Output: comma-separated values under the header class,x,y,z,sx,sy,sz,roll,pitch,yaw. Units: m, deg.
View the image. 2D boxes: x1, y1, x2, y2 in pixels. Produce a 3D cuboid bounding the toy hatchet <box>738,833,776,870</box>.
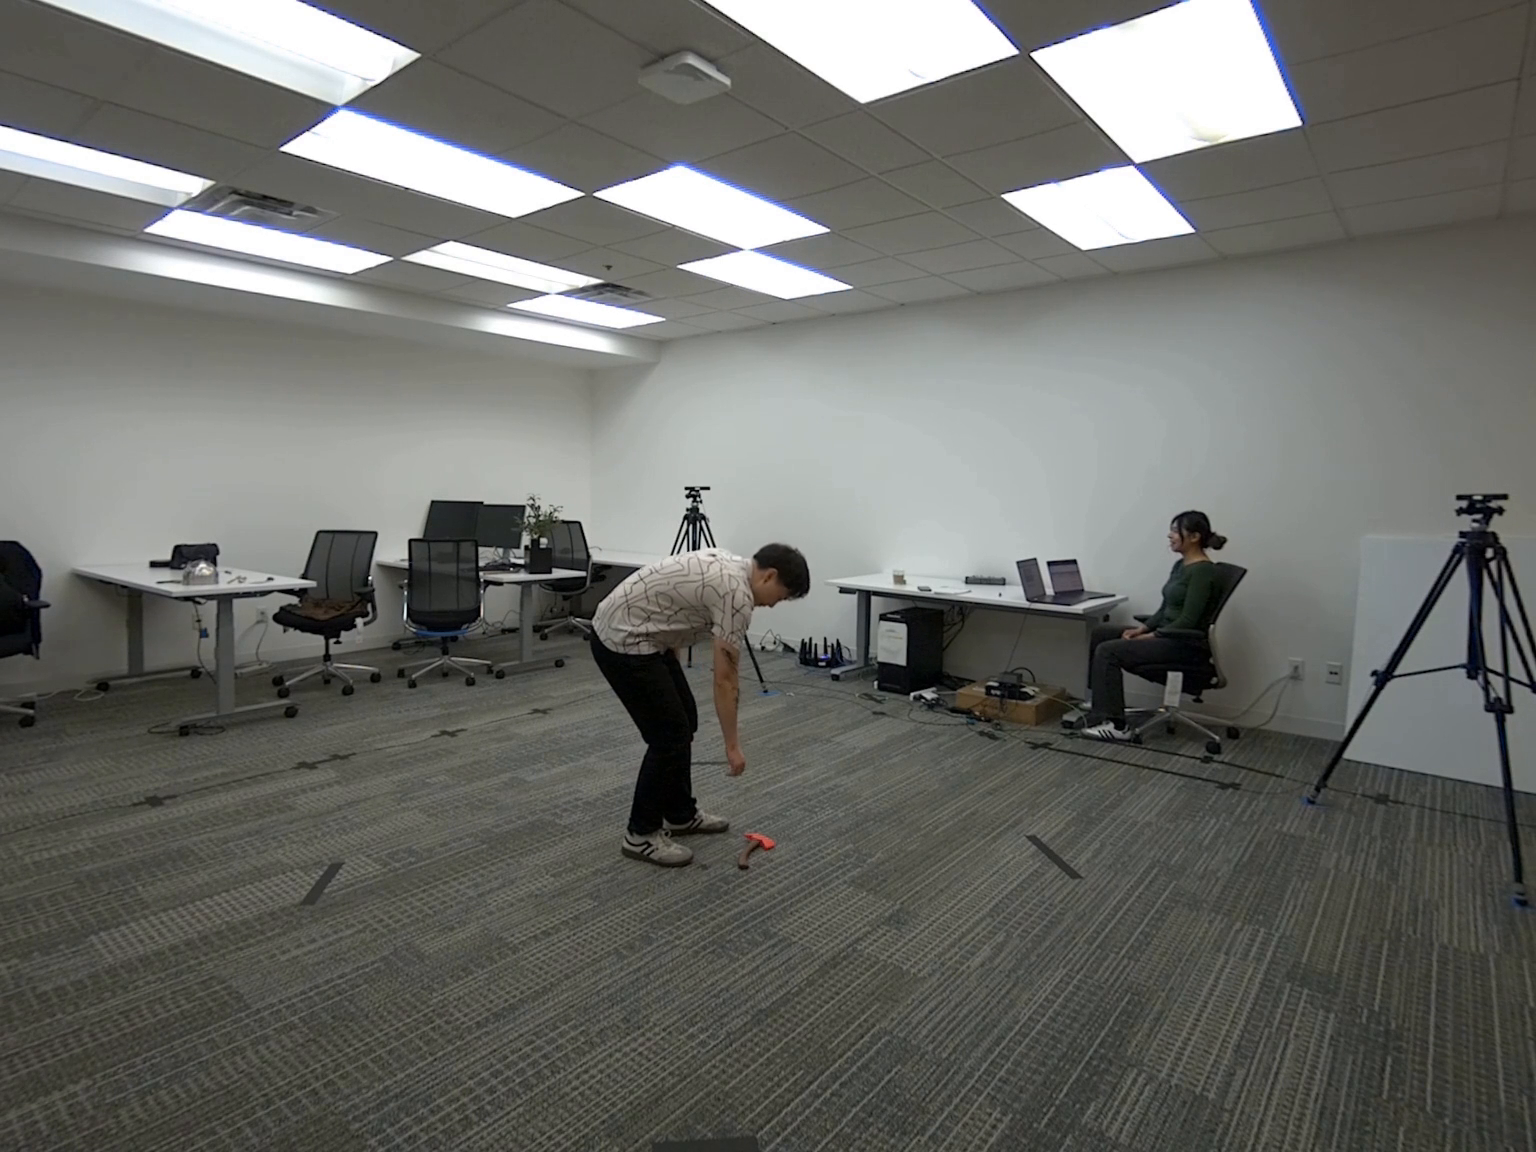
class,x,y,z,sx,sy,sz,roll,pitch,yaw
toy hatchet,-0.046,1.049,3.227,0.132,0.029,0.270,7,9,2
